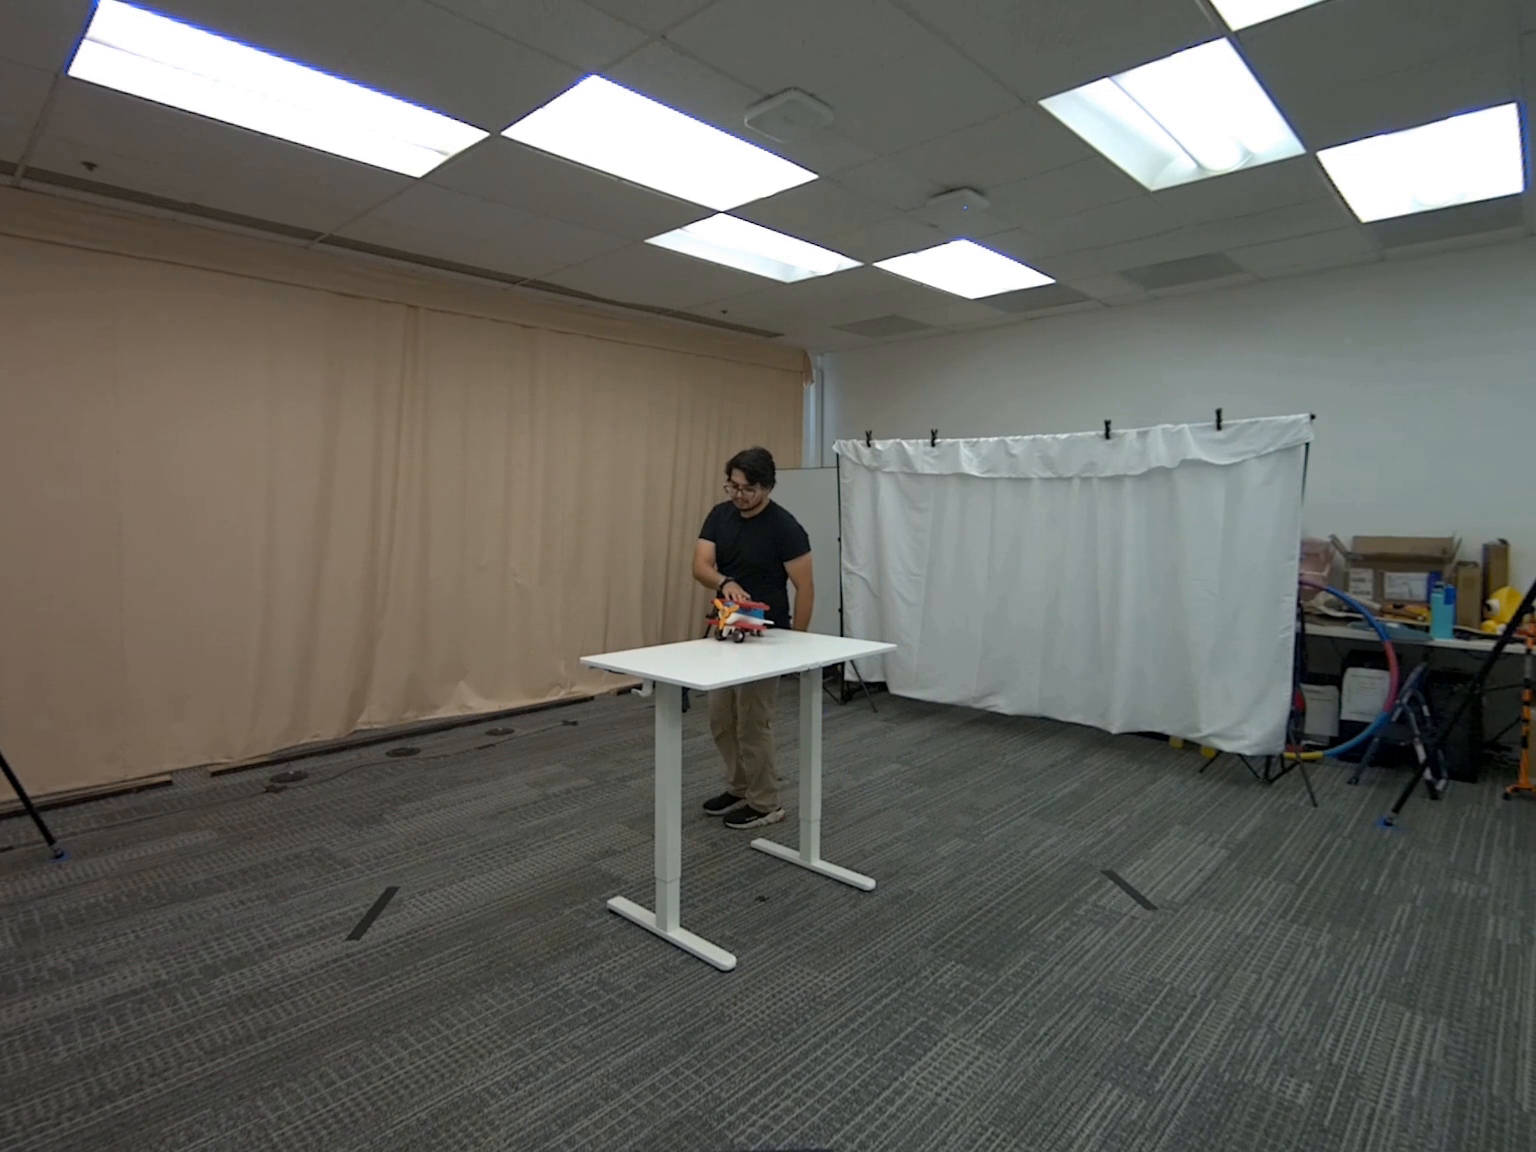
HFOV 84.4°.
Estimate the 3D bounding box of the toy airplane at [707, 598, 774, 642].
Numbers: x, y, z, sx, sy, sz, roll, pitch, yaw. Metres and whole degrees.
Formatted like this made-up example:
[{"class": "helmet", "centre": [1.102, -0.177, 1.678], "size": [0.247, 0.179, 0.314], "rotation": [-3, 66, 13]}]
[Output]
[{"class": "toy airplane", "centre": [-0.113, 0.163, 3.229], "size": [0.254, 0.156, 0.257], "rotation": [2, 5, 8]}]
